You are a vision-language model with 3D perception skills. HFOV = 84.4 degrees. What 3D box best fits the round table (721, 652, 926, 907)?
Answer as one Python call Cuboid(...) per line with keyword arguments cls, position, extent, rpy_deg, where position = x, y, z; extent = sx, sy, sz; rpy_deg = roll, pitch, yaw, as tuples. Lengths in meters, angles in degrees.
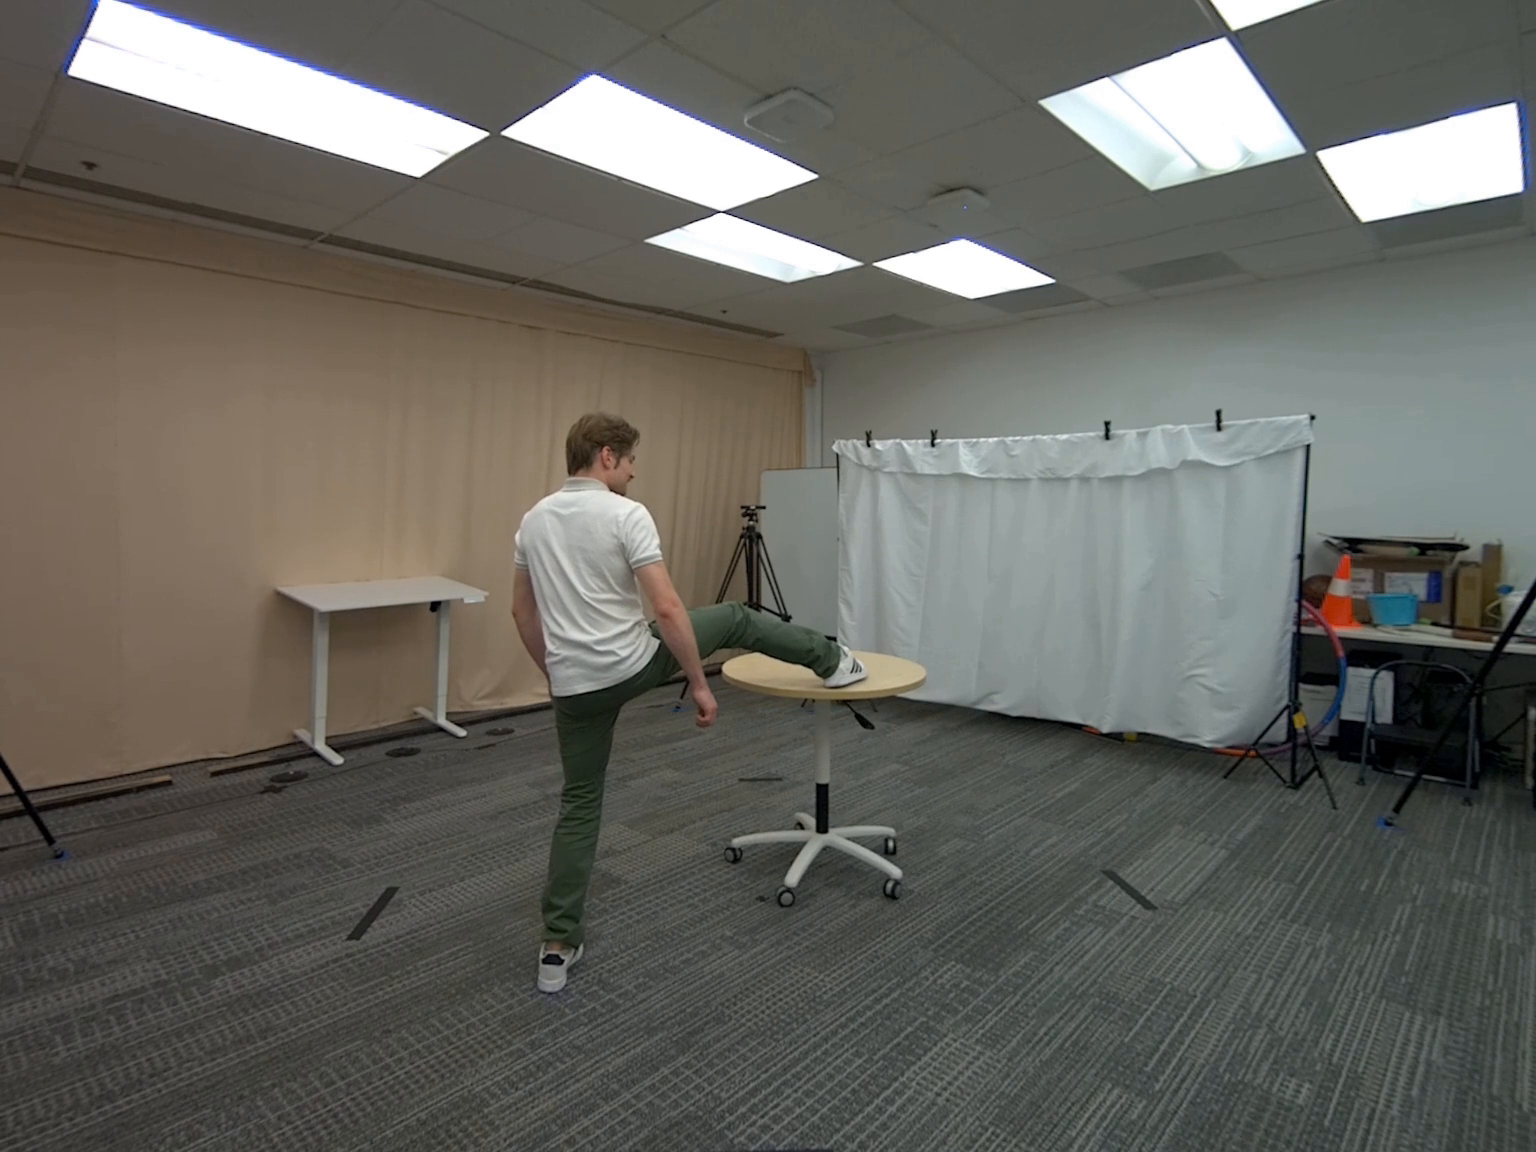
Cuboid(cls="round table", position=(0.211, 0.737, 3.217), extent=(0.763, 0.792, 0.767), rpy_deg=(0, 4, -2))
